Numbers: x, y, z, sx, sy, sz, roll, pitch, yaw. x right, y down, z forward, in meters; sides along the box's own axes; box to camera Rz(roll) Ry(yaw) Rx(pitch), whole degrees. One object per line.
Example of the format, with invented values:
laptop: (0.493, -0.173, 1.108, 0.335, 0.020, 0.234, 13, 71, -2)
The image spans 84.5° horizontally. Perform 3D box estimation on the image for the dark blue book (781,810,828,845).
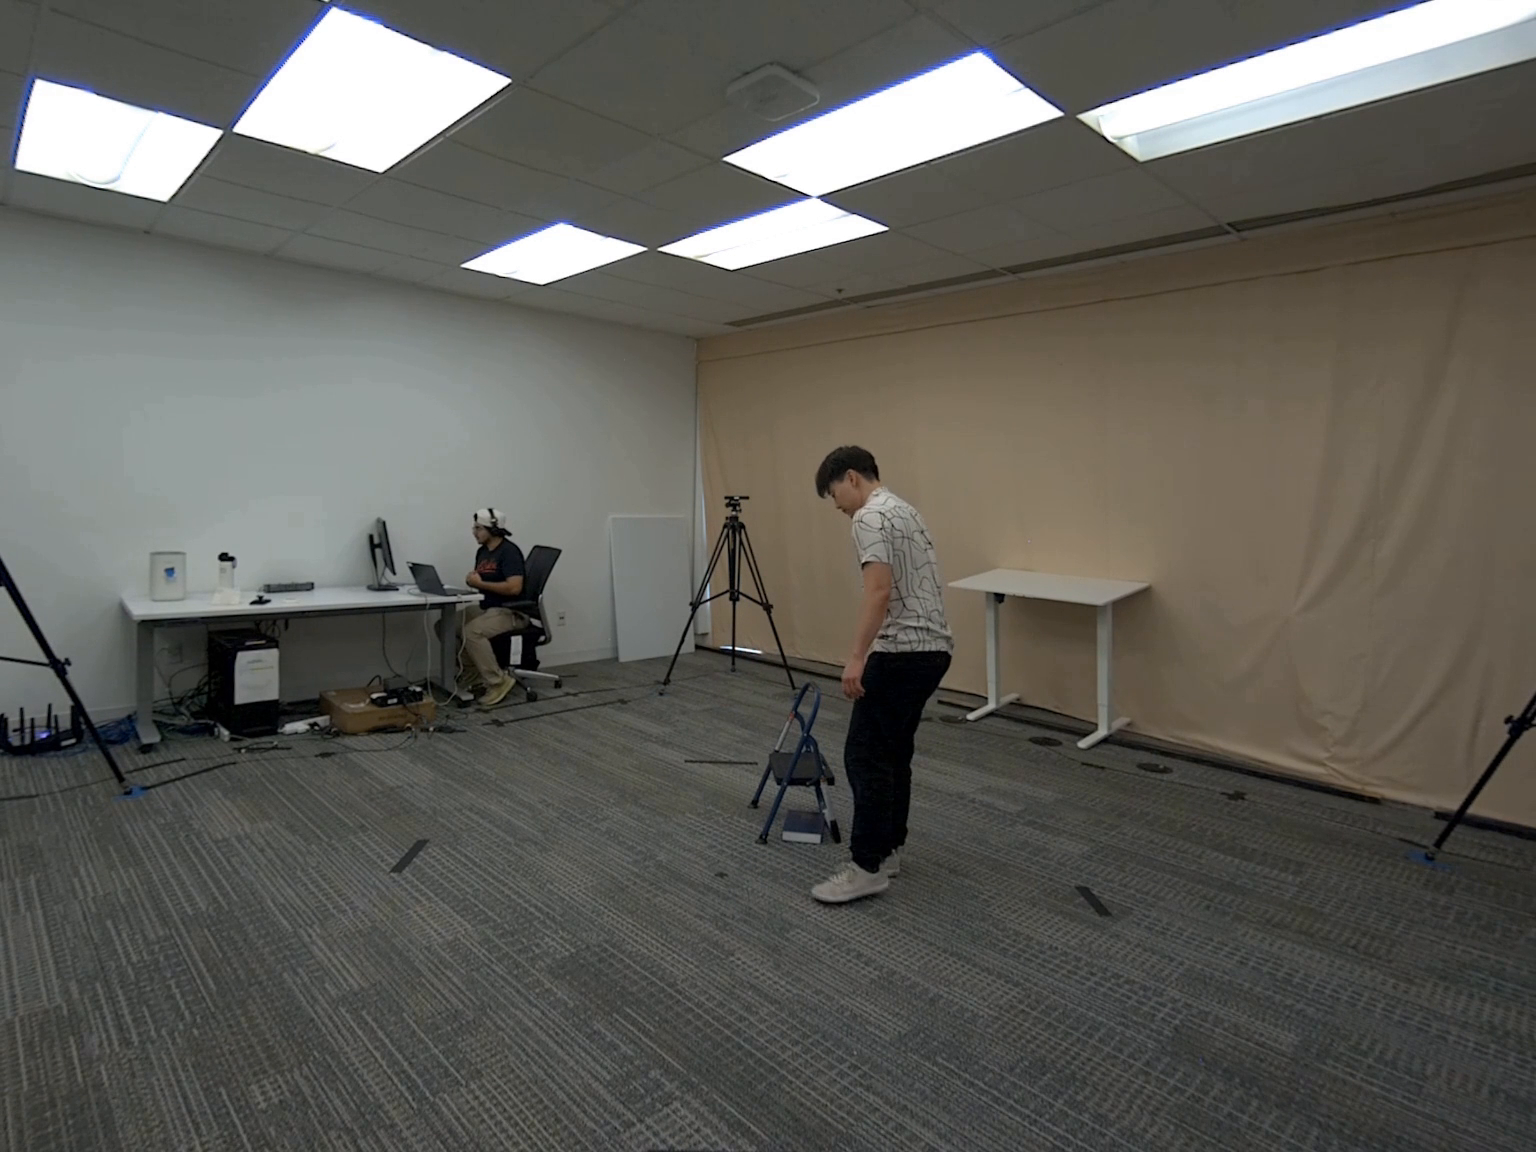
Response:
dark blue book: (0.130, 1.058, 3.545, 0.164, 0.045, 0.244, 3, 6, 7)
